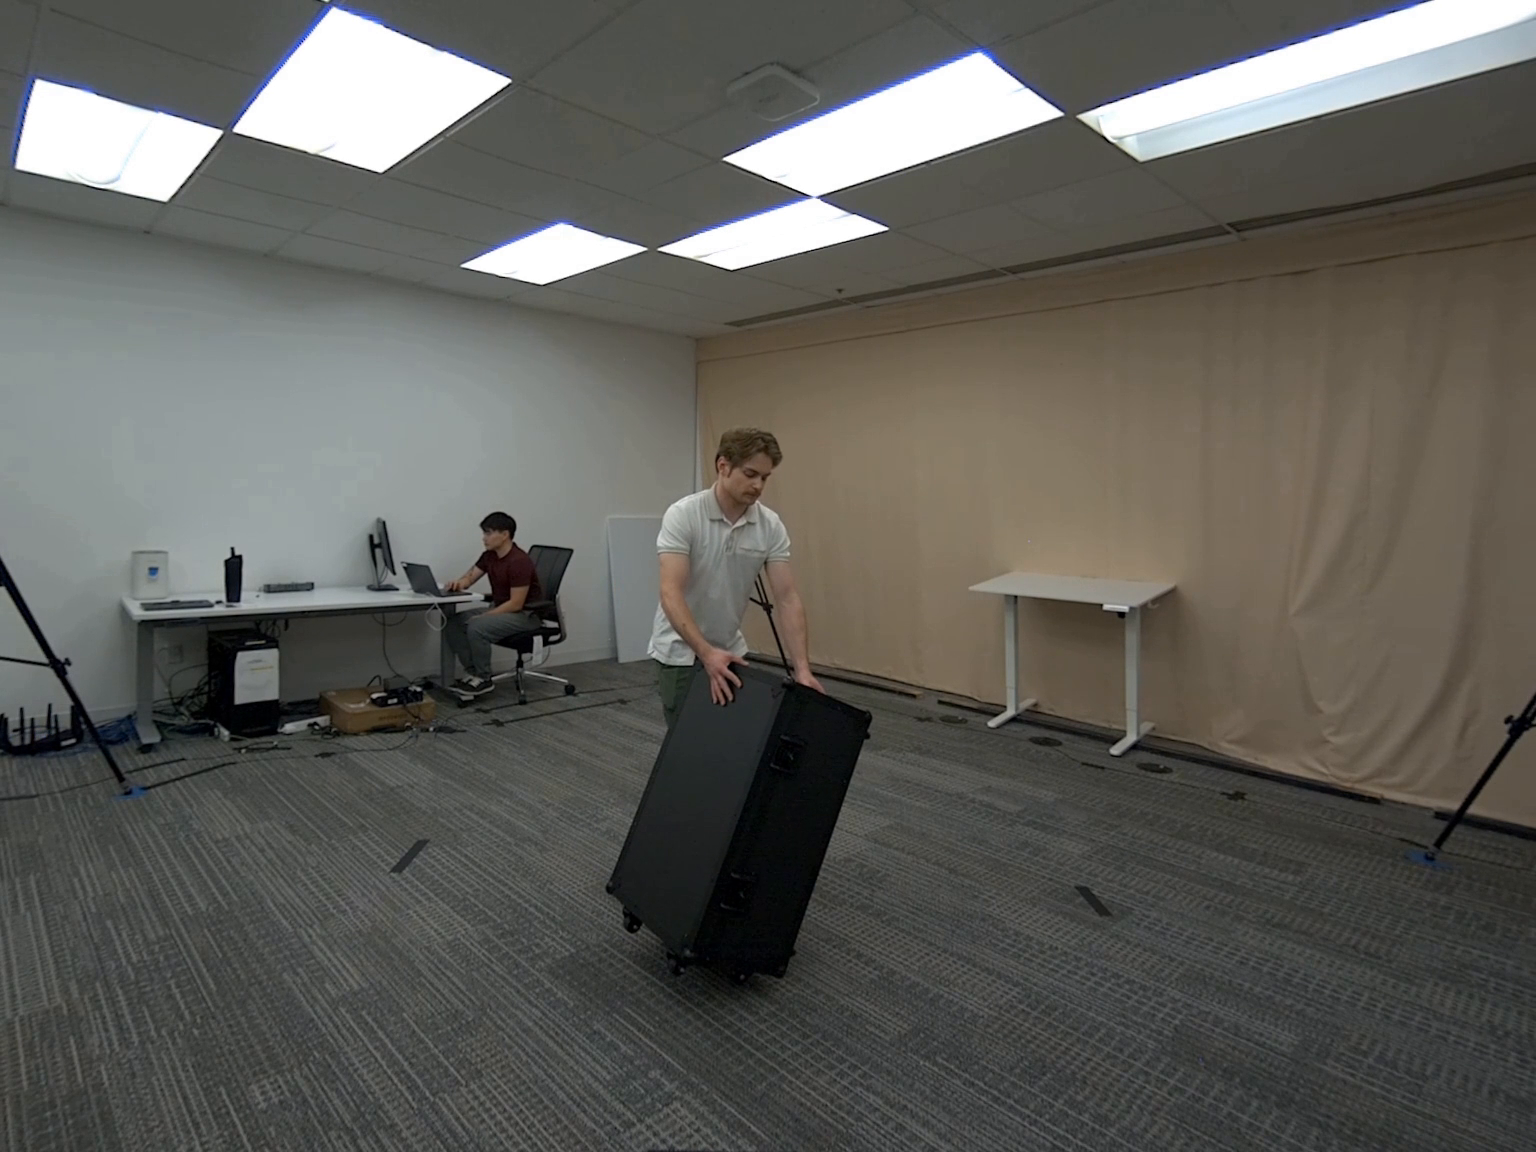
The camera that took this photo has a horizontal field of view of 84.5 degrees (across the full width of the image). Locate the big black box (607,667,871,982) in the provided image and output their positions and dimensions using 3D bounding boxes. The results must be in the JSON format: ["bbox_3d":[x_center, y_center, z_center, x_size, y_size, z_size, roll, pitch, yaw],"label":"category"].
[{"bbox_3d":[-0.107,0.724,2.540,0.374,0.872,0.536,27,-12,-35],"label":"big black box"}]
